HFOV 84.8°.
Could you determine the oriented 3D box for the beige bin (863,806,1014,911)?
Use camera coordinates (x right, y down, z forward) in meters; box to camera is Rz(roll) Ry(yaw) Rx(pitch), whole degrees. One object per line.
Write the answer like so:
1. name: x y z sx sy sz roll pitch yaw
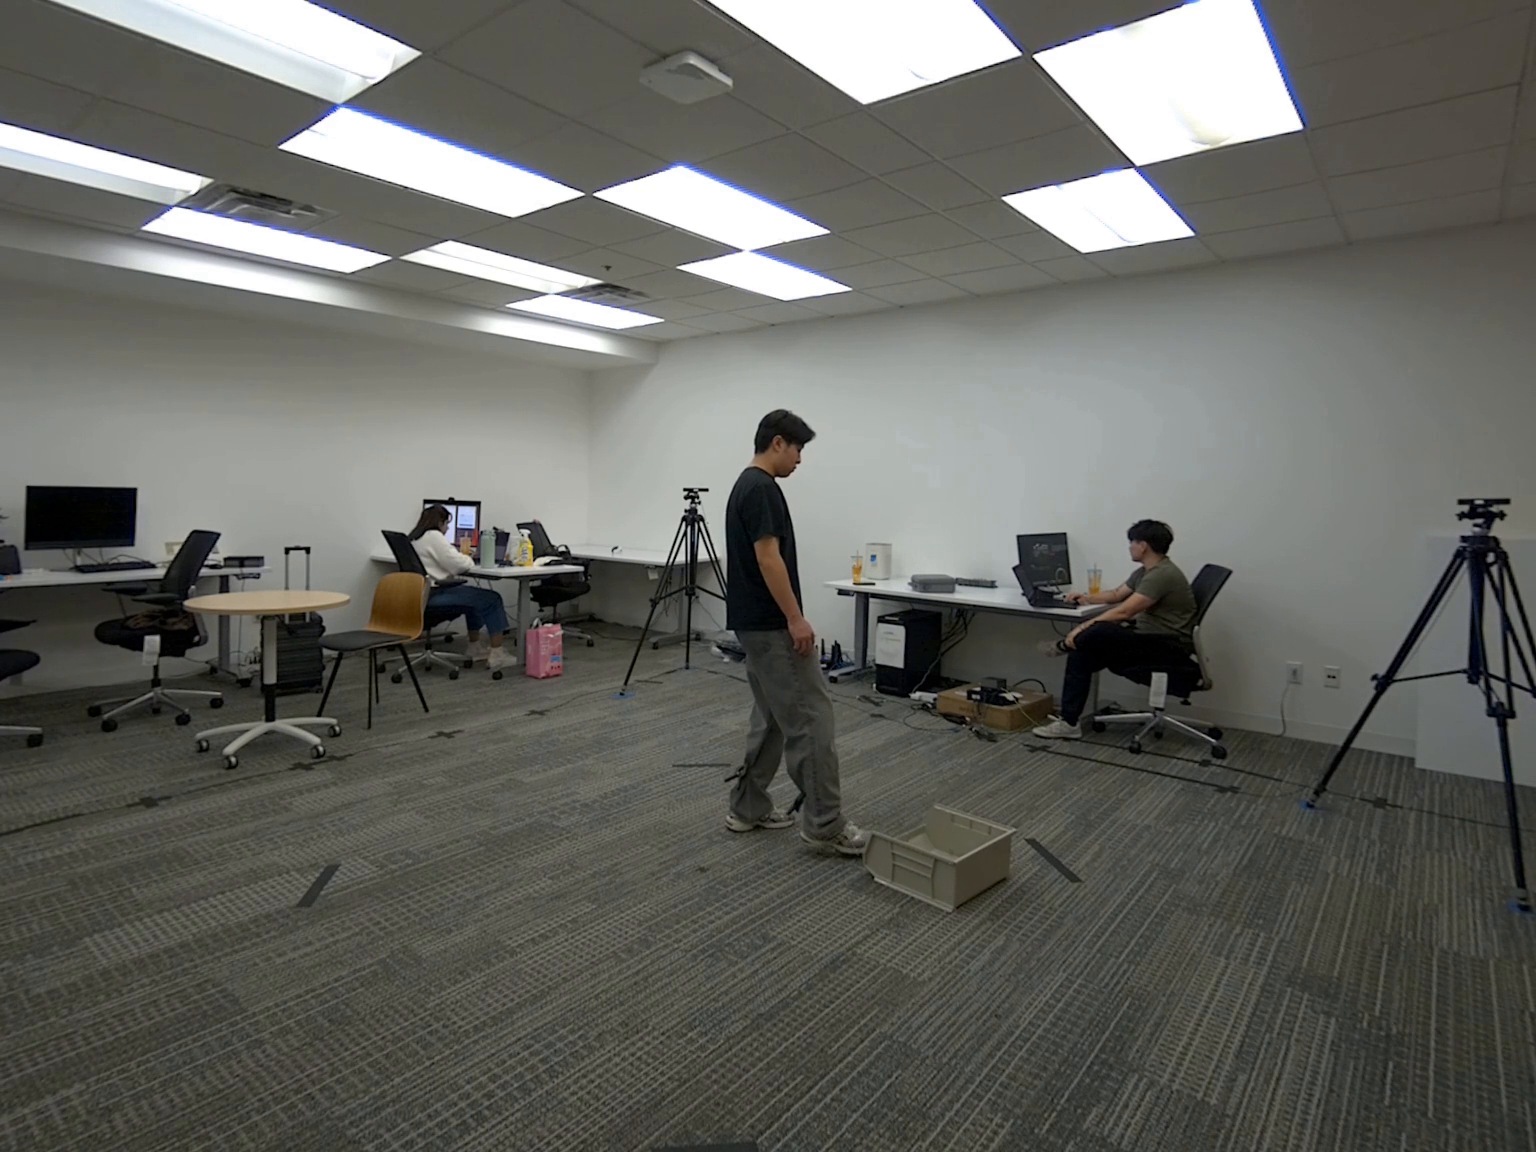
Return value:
1. beige bin: 0.616 1.002 3.088 0.391 0.188 0.409 8 8 44
